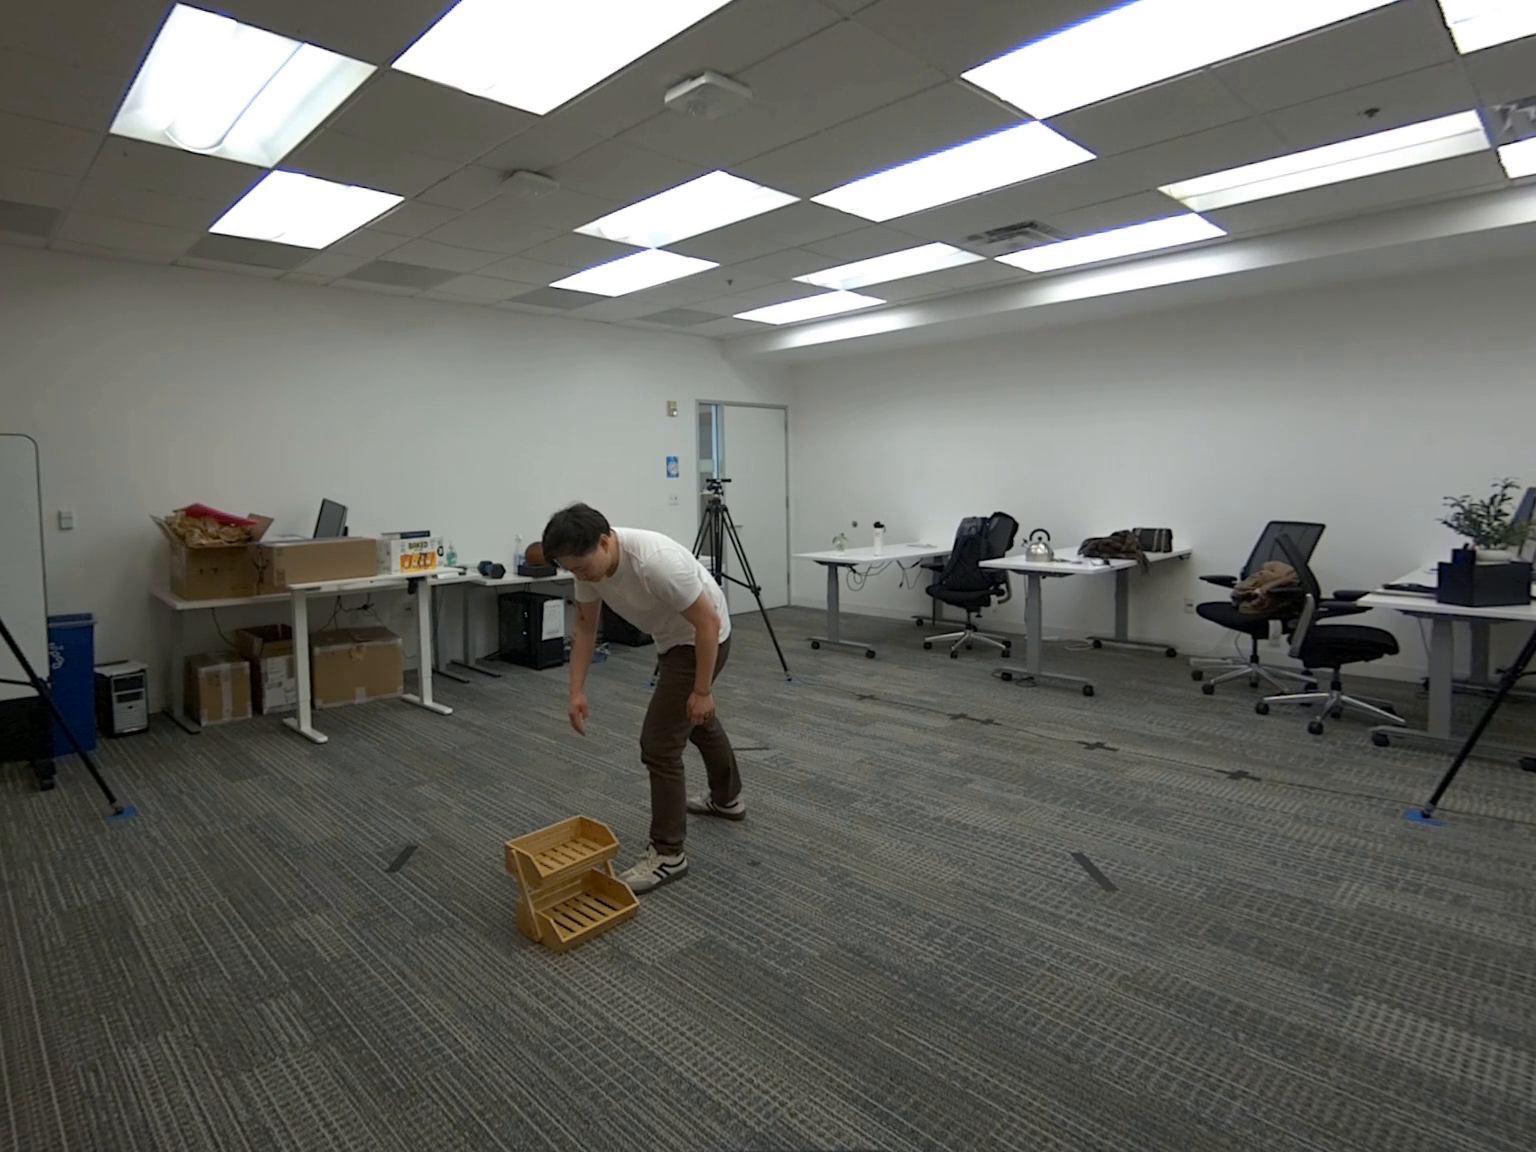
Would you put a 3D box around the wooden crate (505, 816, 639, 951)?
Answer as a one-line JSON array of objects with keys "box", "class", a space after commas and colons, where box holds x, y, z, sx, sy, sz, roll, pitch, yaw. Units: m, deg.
[{"box": [-0.619, 0.966, 2.723, 0.311, 0.272, 0.316, 3, 7, 42], "class": "wooden crate"}]
